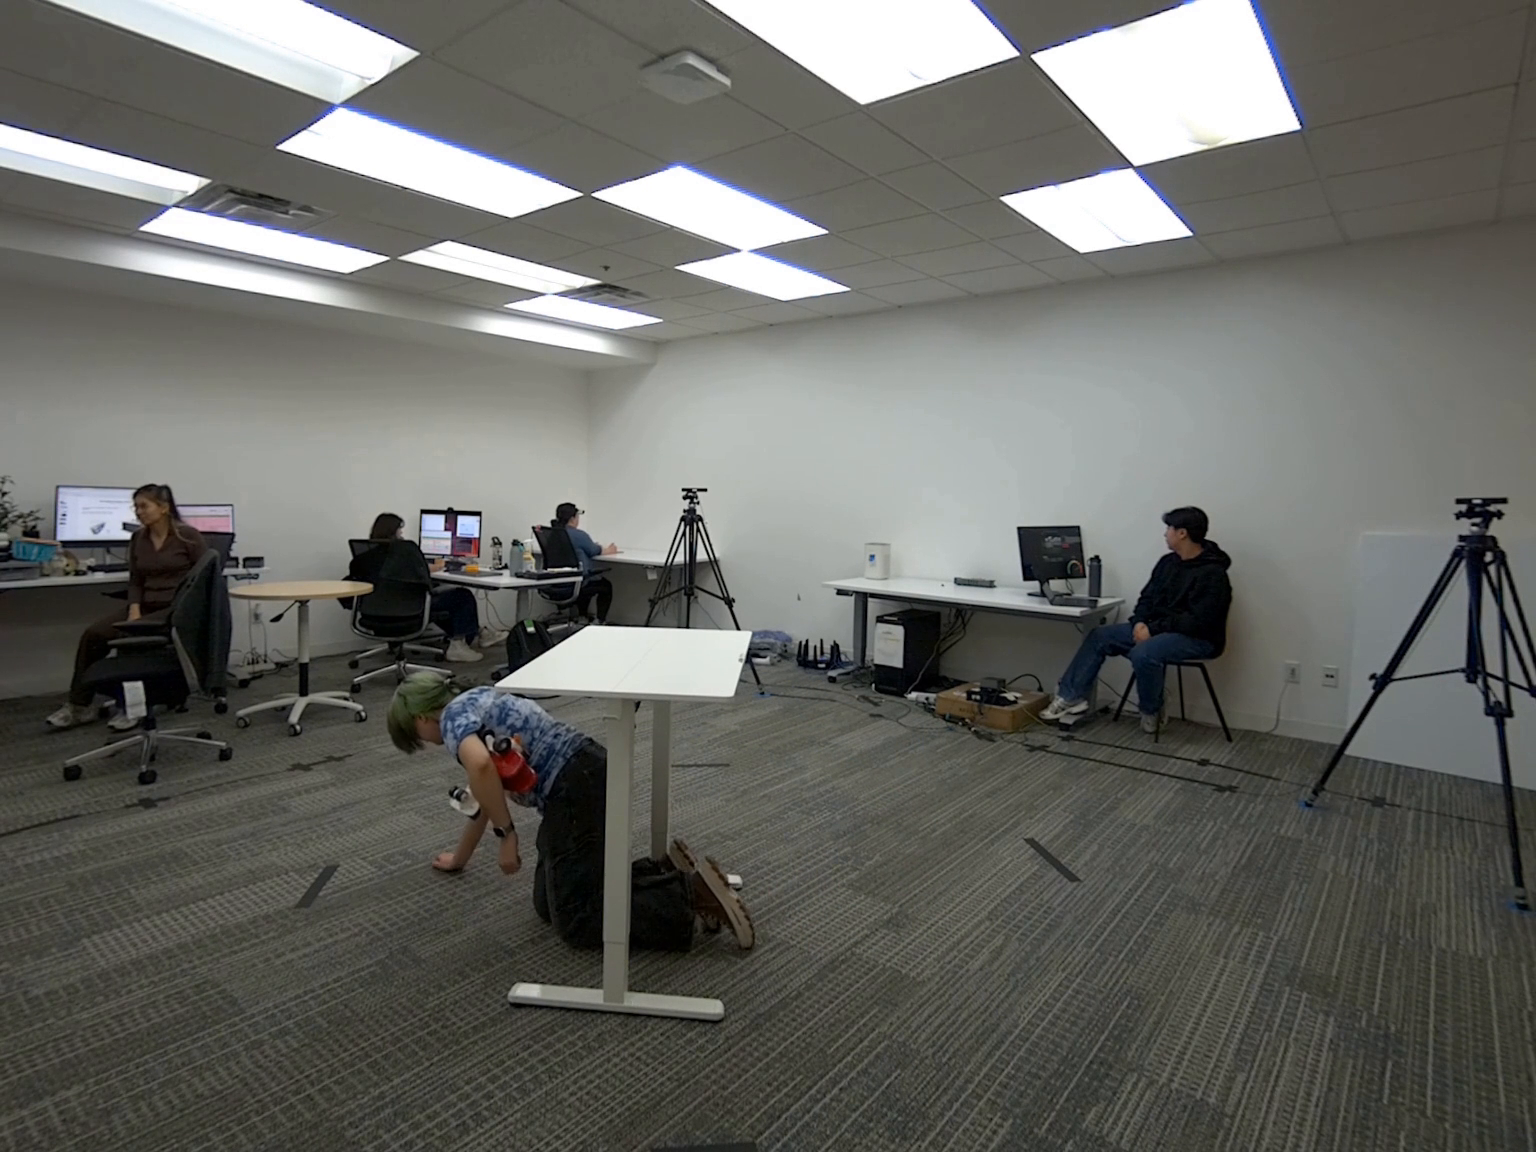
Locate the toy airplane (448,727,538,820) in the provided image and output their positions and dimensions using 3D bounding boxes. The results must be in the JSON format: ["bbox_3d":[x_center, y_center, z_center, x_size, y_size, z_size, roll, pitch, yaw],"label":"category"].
[{"bbox_3d":[-0.868,0.585,2.562,0.262,0.259,0.150,47,-3,46],"label":"toy airplane"}]
